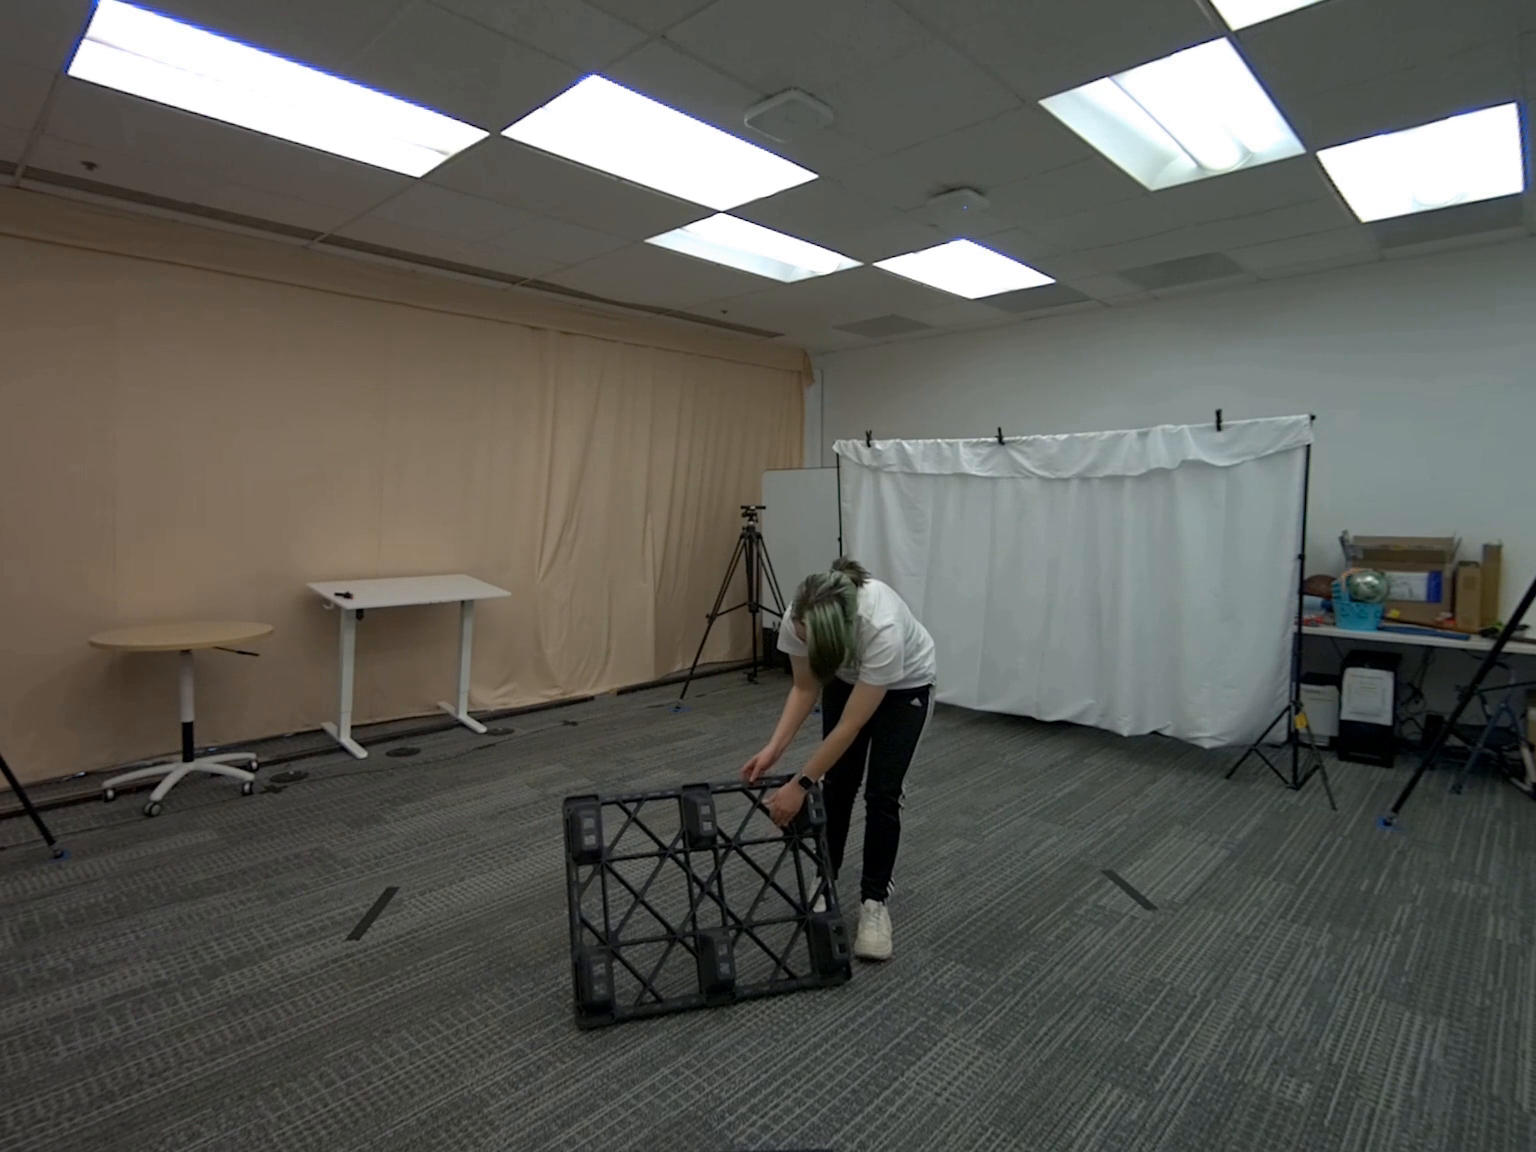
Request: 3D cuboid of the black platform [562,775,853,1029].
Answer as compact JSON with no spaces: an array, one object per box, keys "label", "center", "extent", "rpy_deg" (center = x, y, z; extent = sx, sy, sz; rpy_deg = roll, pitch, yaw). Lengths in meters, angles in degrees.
[{"label":"black platform","center":[-0.172,0.905,2.413],"extent":[0.792,0.615,0.143],"rpy_deg":[-3,-24,-16]}]
